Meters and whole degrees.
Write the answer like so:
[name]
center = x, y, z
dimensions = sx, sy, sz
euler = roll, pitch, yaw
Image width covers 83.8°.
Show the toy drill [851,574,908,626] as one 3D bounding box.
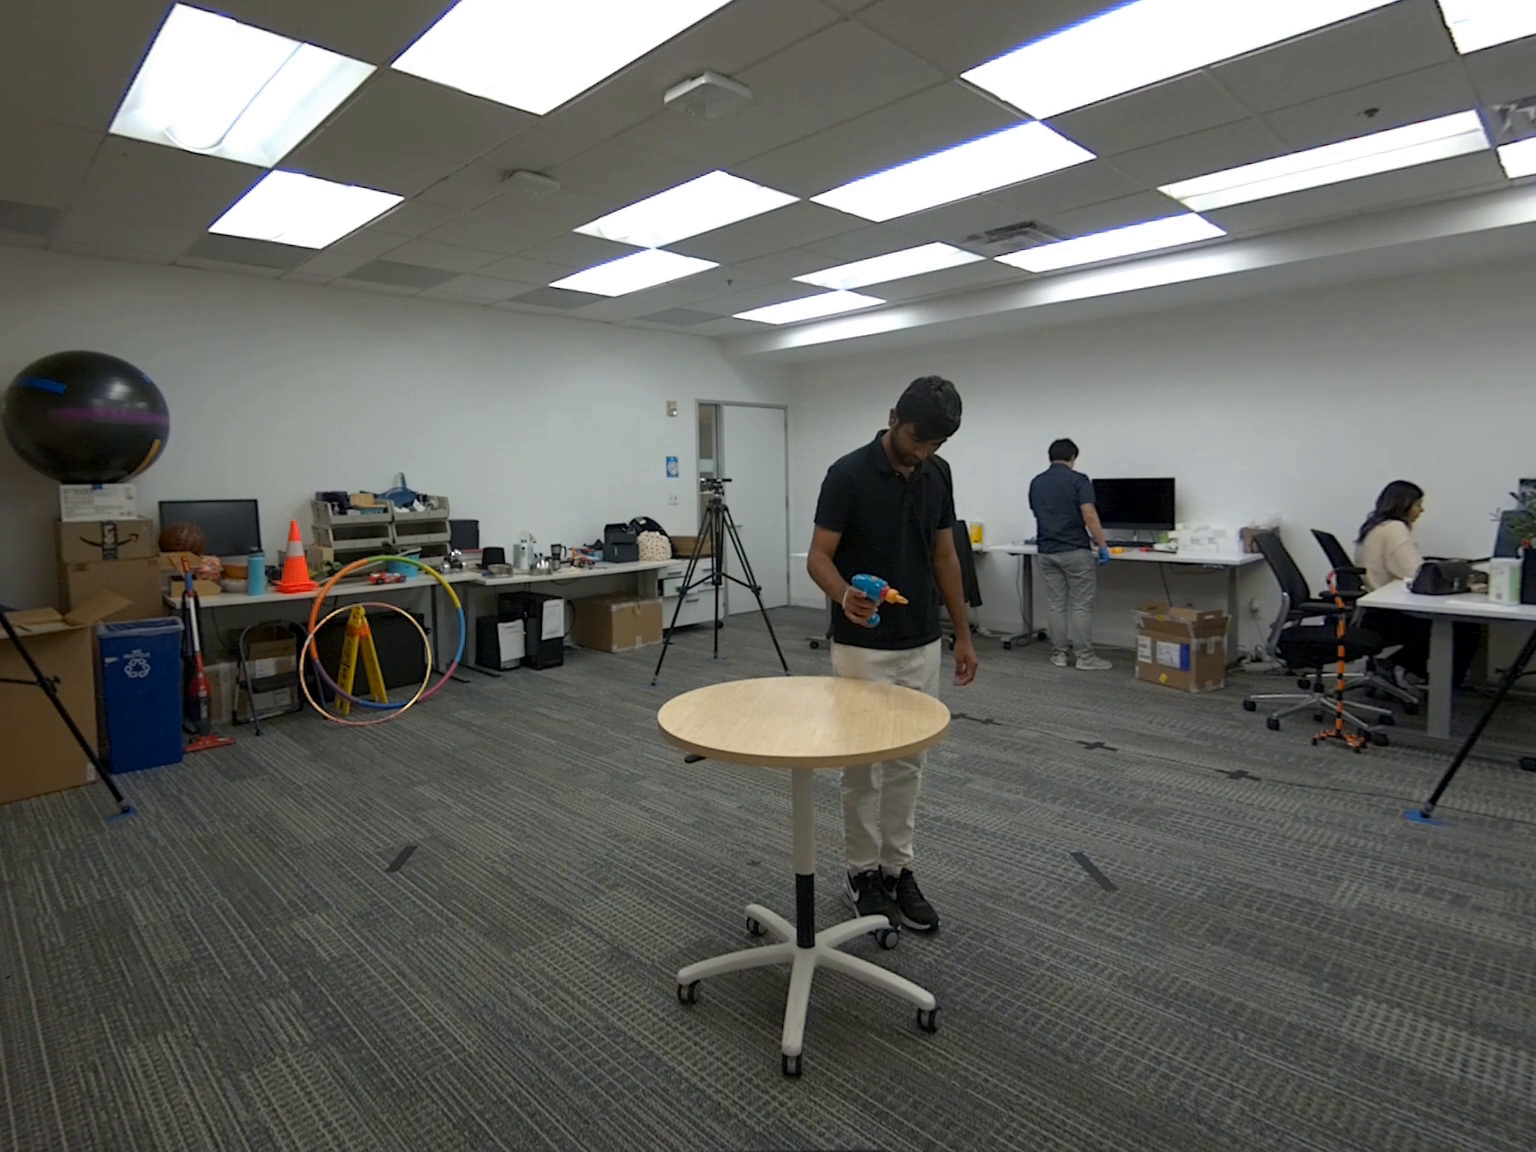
[toy drill]
center = 0.291, 0.074, 2.277
dimensions = 0.176, 0.142, 0.060
euler = 25, 43, 35
